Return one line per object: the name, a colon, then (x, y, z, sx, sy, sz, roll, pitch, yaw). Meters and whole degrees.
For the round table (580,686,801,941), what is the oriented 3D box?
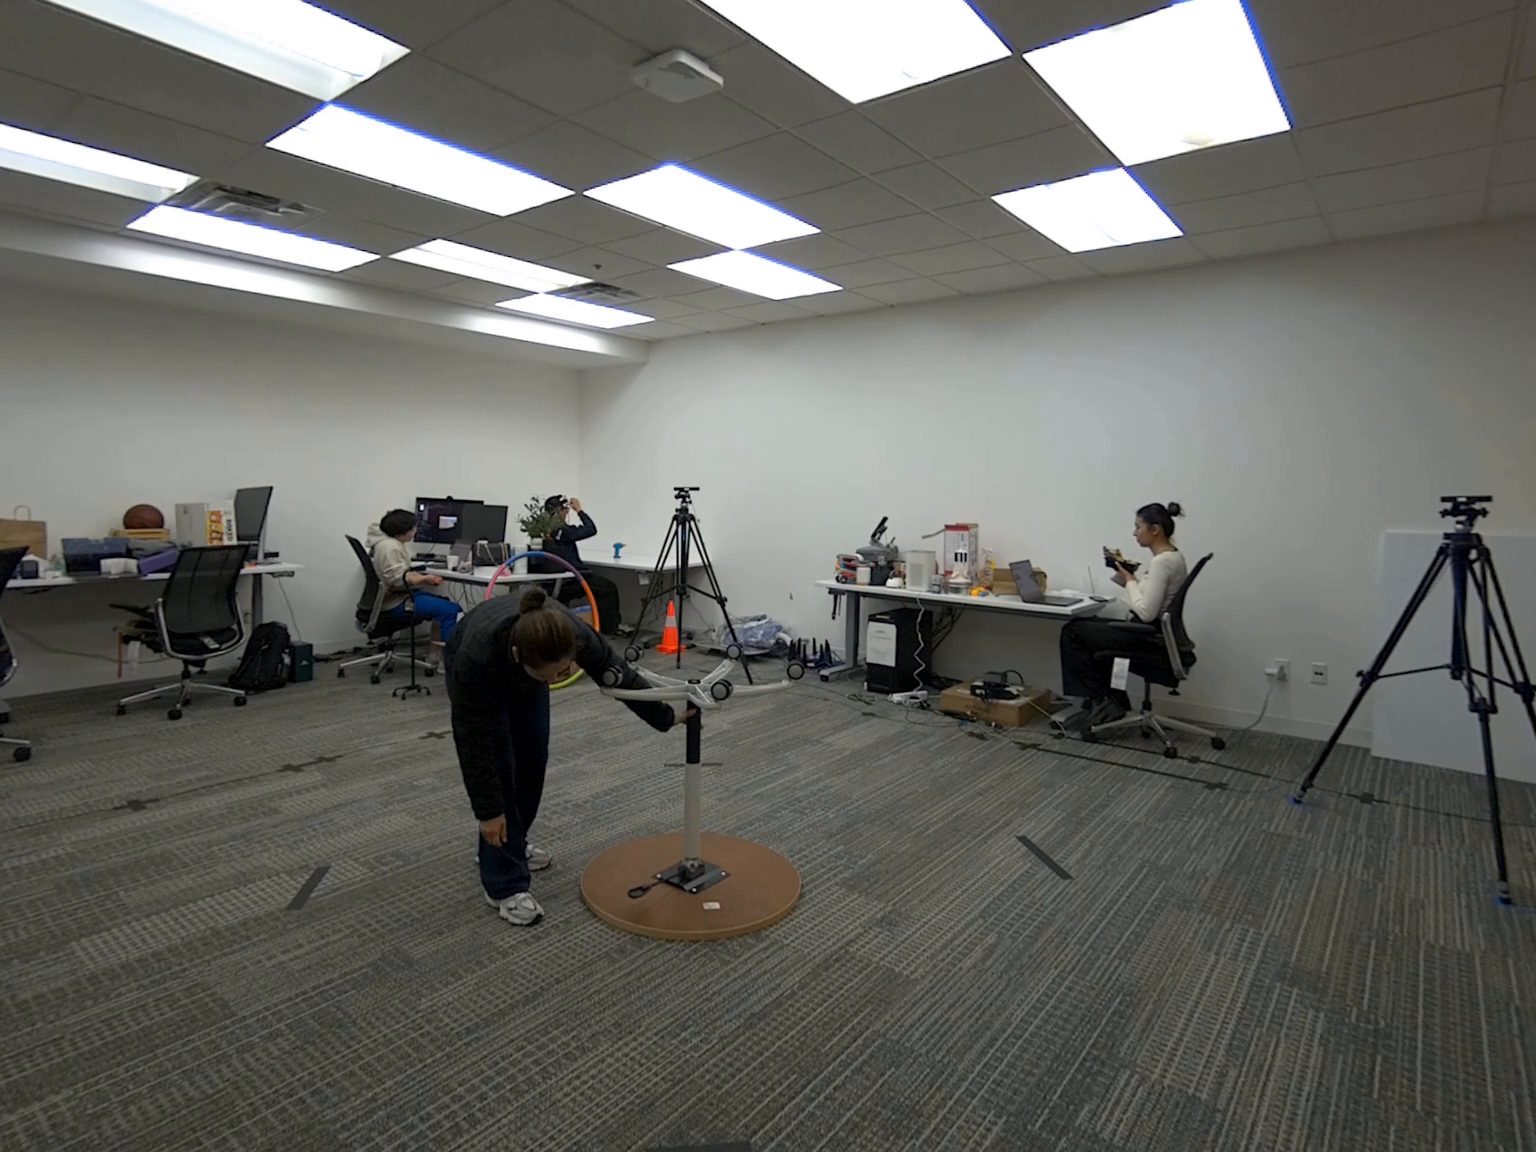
round table: (-0.253, 0.681, 2.967, 0.784, 0.784, 0.788, 1, 4, -2)
